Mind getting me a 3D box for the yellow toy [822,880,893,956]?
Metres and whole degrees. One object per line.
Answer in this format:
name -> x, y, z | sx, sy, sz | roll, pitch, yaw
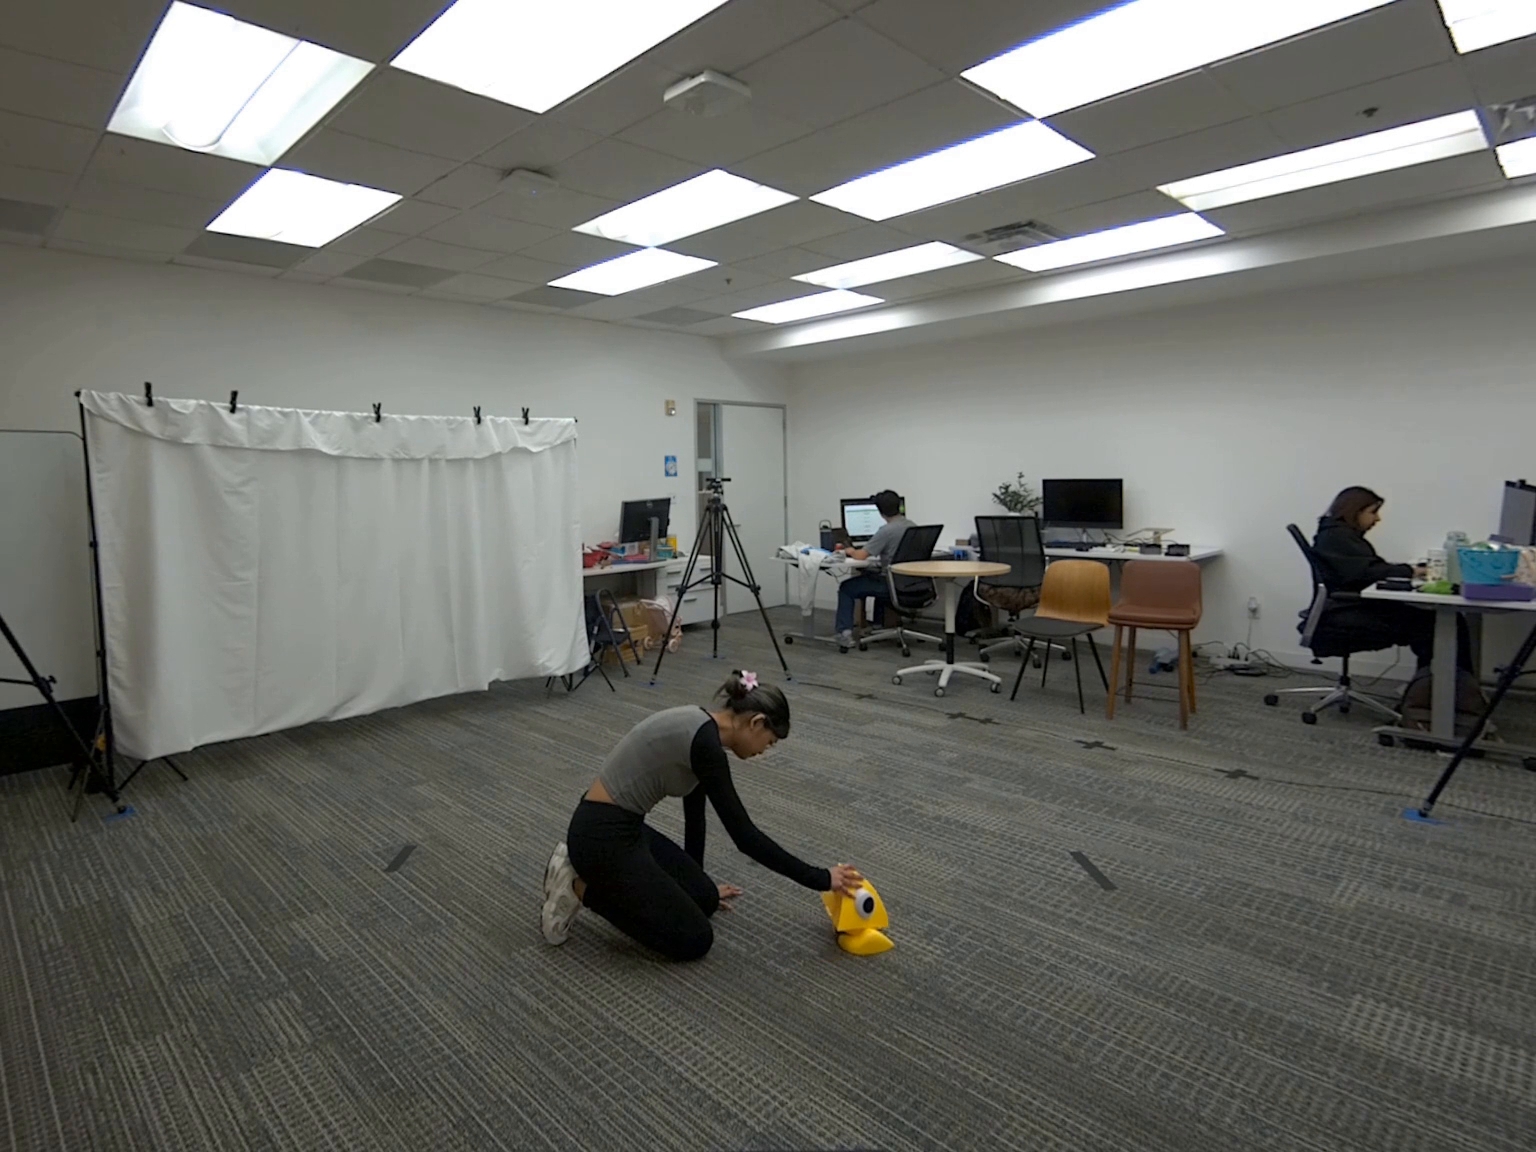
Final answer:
yellow toy -> 0.272, 0.976, 2.590 | 0.191, 0.230, 0.207 | -2, 4, -9
